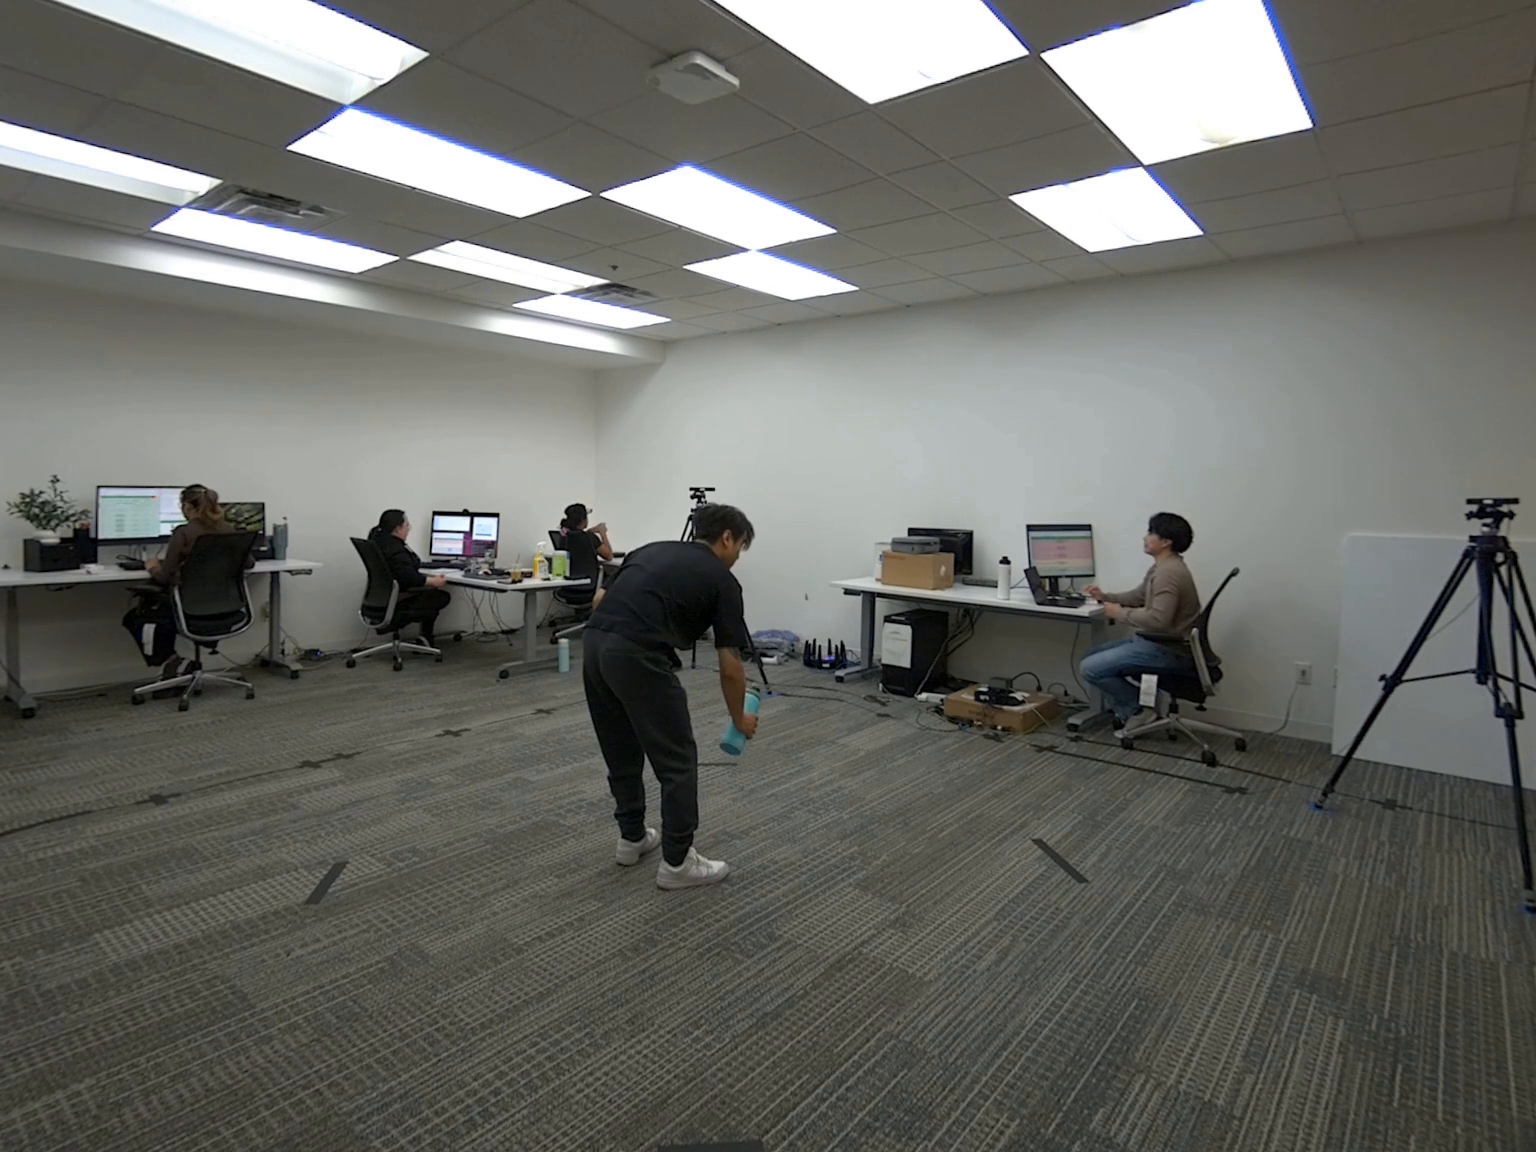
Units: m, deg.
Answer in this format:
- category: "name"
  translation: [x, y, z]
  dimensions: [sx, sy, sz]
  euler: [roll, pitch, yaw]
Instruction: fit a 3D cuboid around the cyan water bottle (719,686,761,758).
- category: "cyan water bottle"
  translation: [-0.118, 0.539, 3.269]
  dimensions: [0.093, 0.287, 0.090]
  euler: [15, -37, 10]
